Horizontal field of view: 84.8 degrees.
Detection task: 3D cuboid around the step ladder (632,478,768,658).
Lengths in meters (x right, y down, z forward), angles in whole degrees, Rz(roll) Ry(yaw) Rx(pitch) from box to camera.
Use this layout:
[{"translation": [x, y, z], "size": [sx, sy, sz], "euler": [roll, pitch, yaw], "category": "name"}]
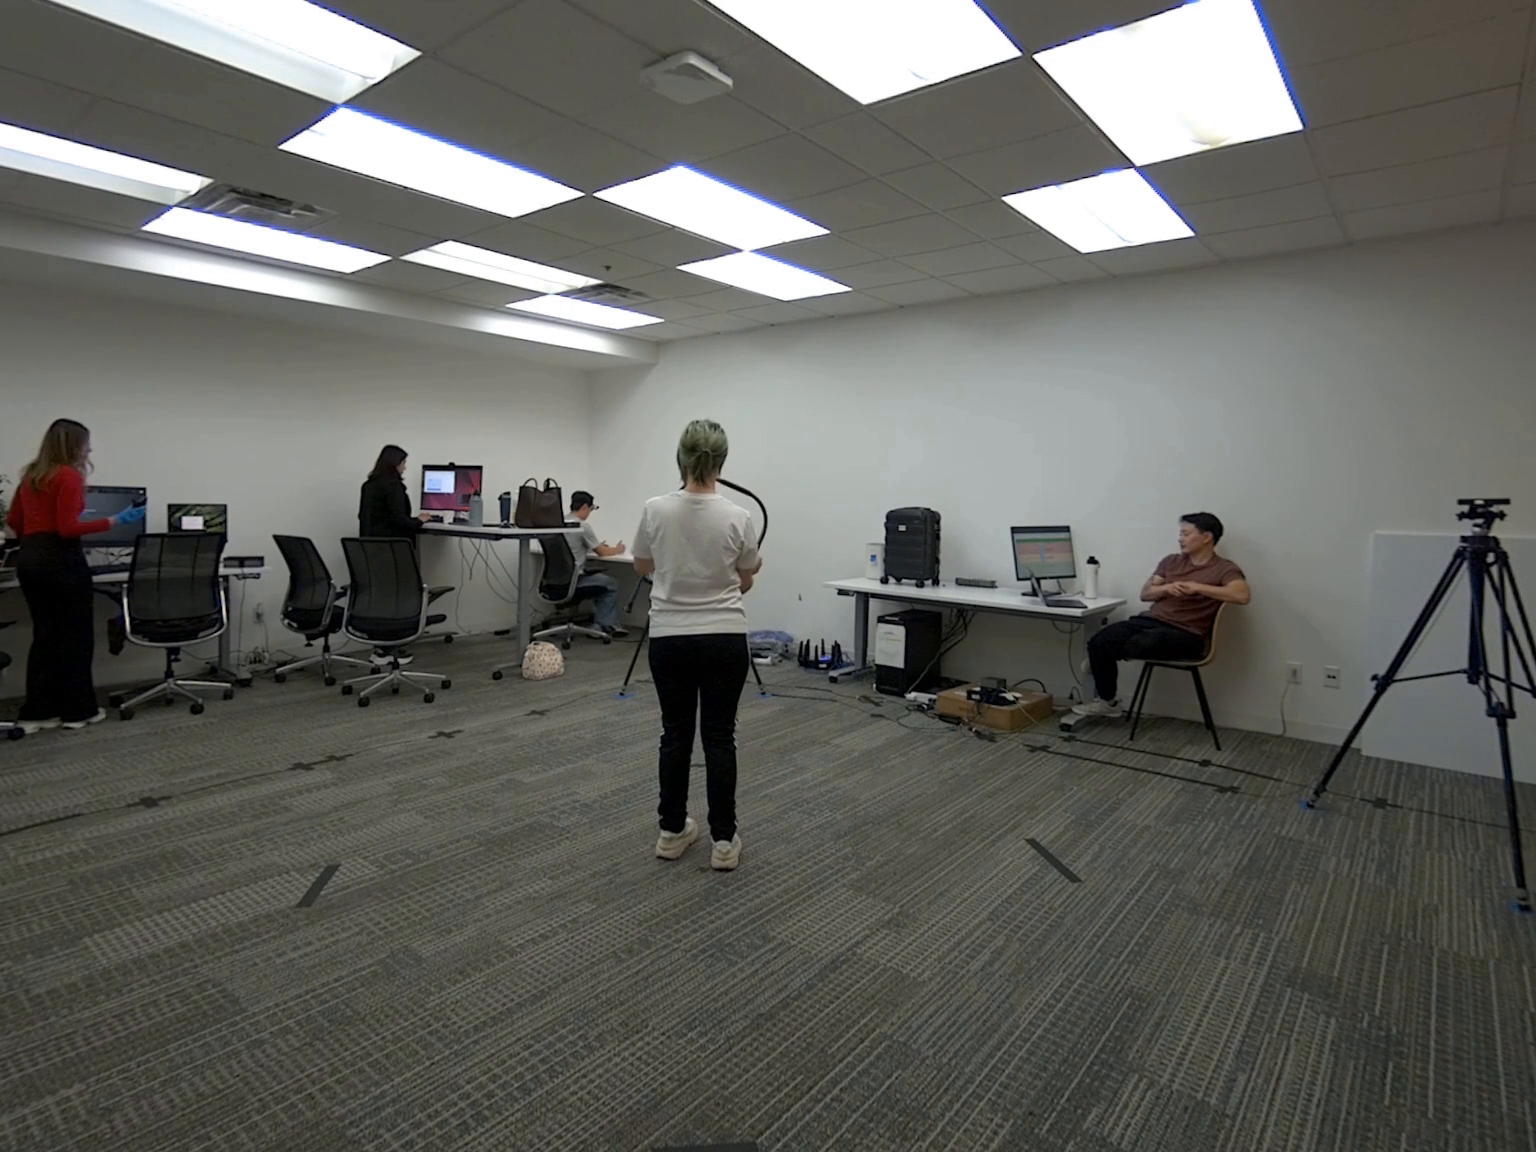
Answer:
[{"translation": [-0.273, -0.100, 3.550], "size": [0.427, 0.601, 0.355], "euler": [24, 20, -7], "category": "step ladder"}]
